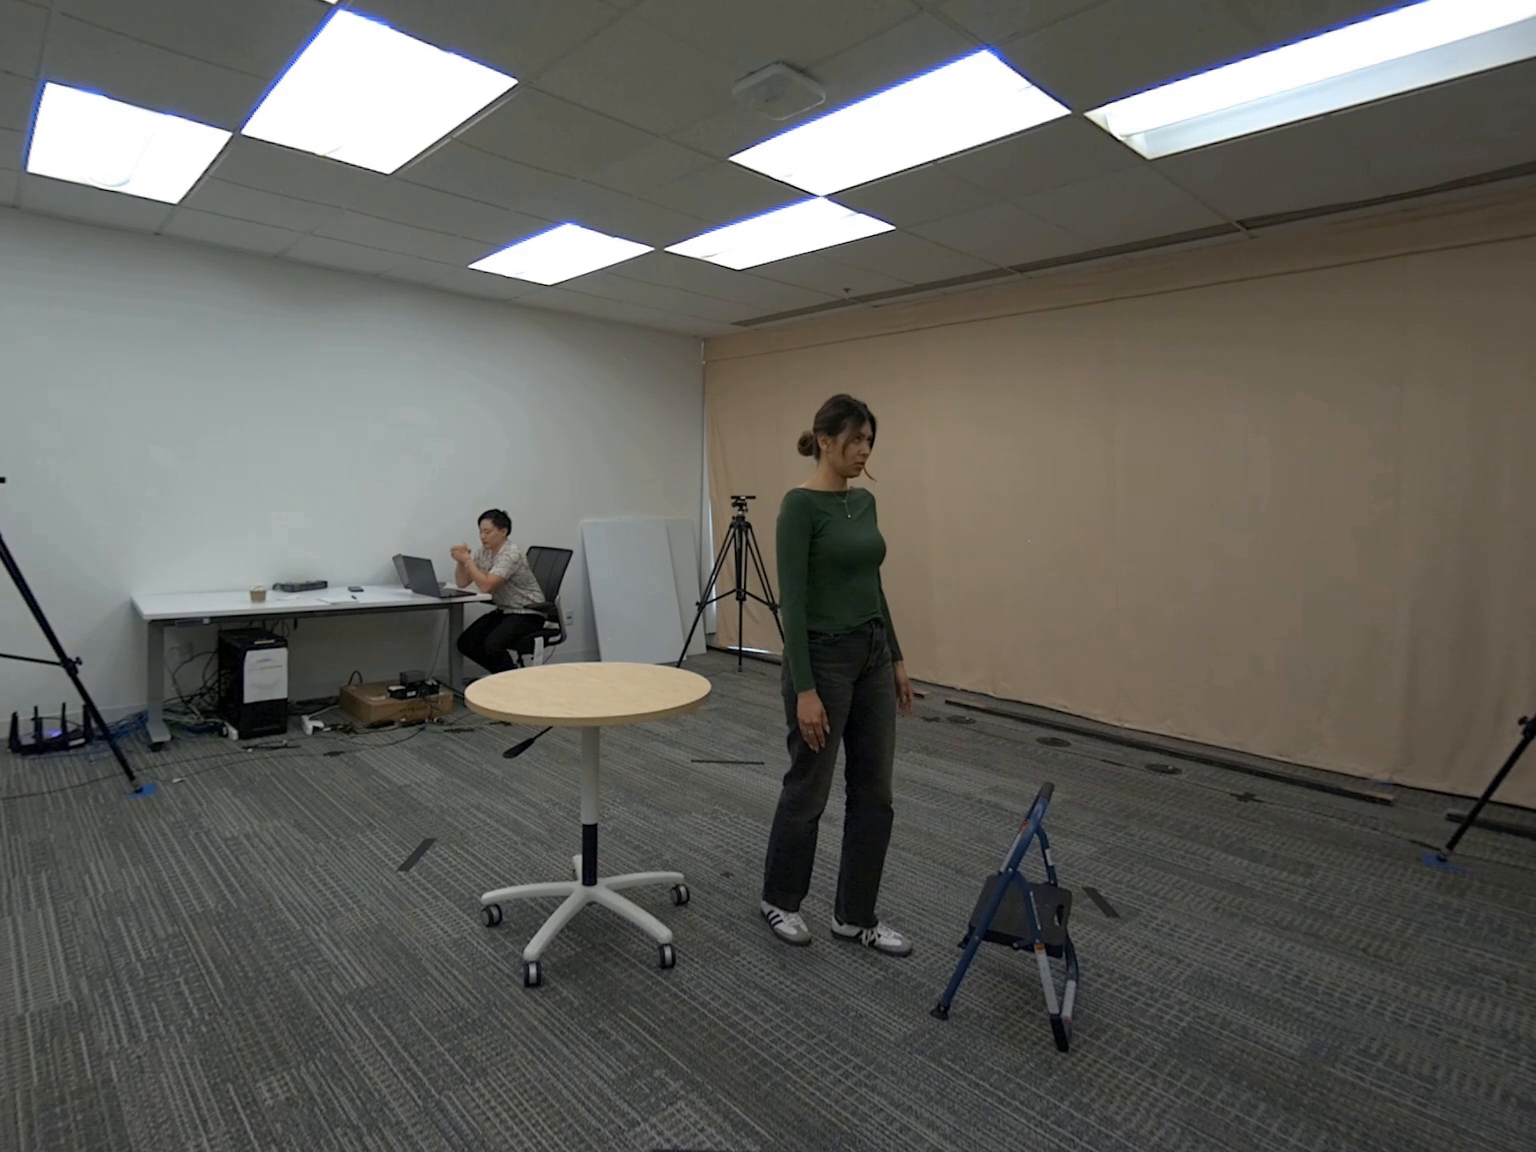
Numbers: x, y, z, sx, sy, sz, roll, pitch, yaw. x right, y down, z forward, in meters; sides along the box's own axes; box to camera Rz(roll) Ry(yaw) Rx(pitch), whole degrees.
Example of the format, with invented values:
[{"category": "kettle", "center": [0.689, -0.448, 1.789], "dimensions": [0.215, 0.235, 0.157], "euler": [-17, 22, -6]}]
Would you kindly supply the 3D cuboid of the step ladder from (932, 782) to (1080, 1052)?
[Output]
[{"category": "step ladder", "center": [0.689, 0.888, 2.370], "dimensions": [0.356, 0.604, 0.424], "euler": [3, 4, 24]}]
